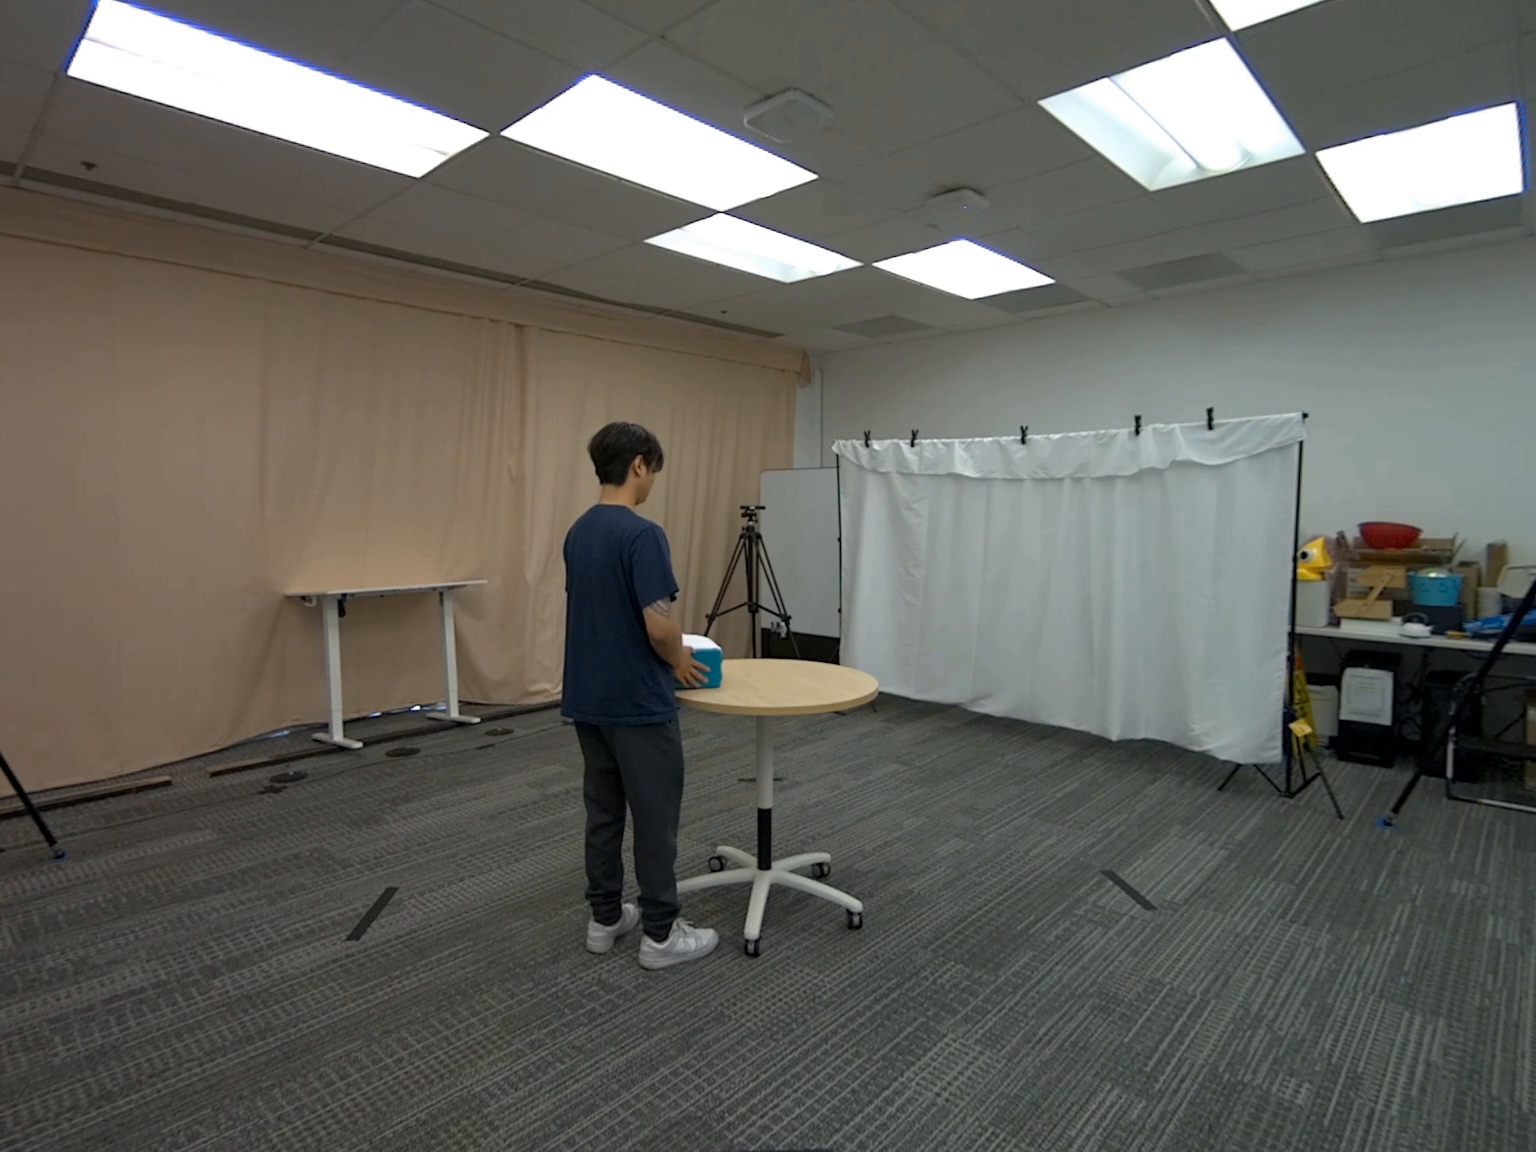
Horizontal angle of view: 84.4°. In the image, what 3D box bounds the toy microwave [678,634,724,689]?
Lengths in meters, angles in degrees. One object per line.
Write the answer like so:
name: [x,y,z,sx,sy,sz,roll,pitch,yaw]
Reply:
toy microwave: [-0.259,0.285,2.851,0.181,0.152,0.291,3,4,-14]
